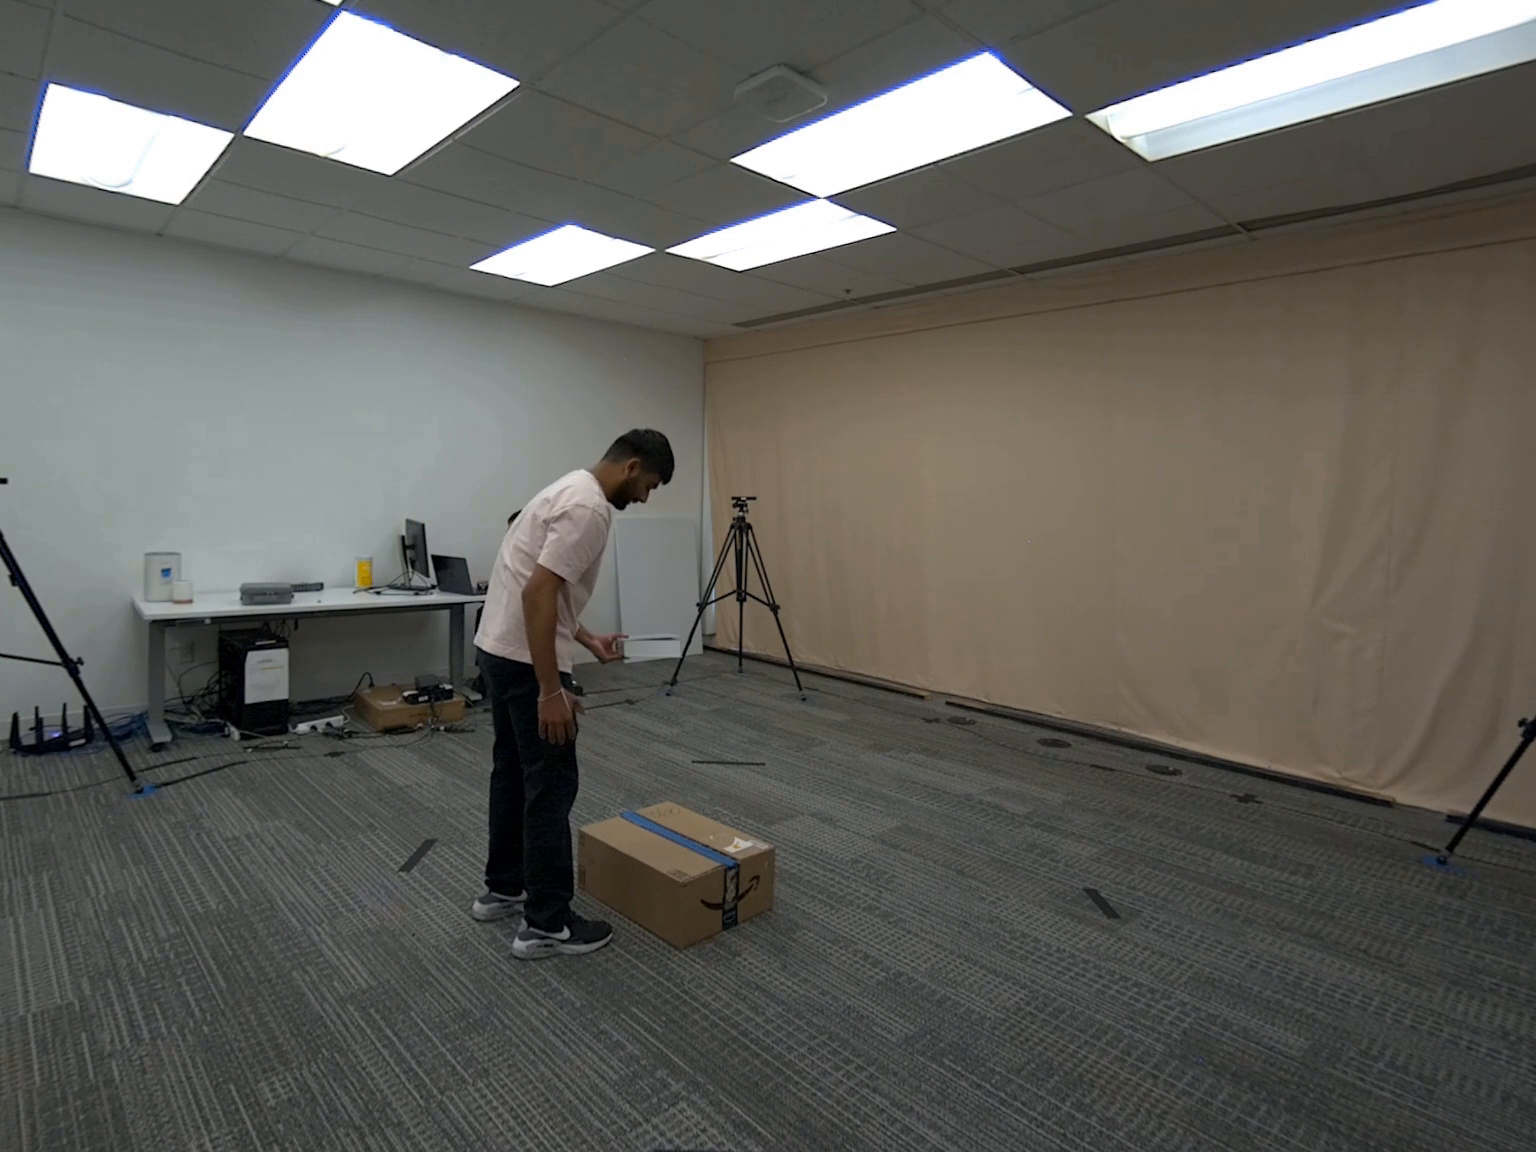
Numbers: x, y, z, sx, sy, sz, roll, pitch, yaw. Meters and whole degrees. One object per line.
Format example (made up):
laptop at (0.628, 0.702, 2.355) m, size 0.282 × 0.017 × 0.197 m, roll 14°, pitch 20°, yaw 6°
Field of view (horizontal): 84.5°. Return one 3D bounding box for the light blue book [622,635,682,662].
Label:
light blue book at (-0.396, 0.240, 2.797) m, size 0.189 × 0.059 × 0.263 m, roll -1°, pitch -1°, yaw -13°
